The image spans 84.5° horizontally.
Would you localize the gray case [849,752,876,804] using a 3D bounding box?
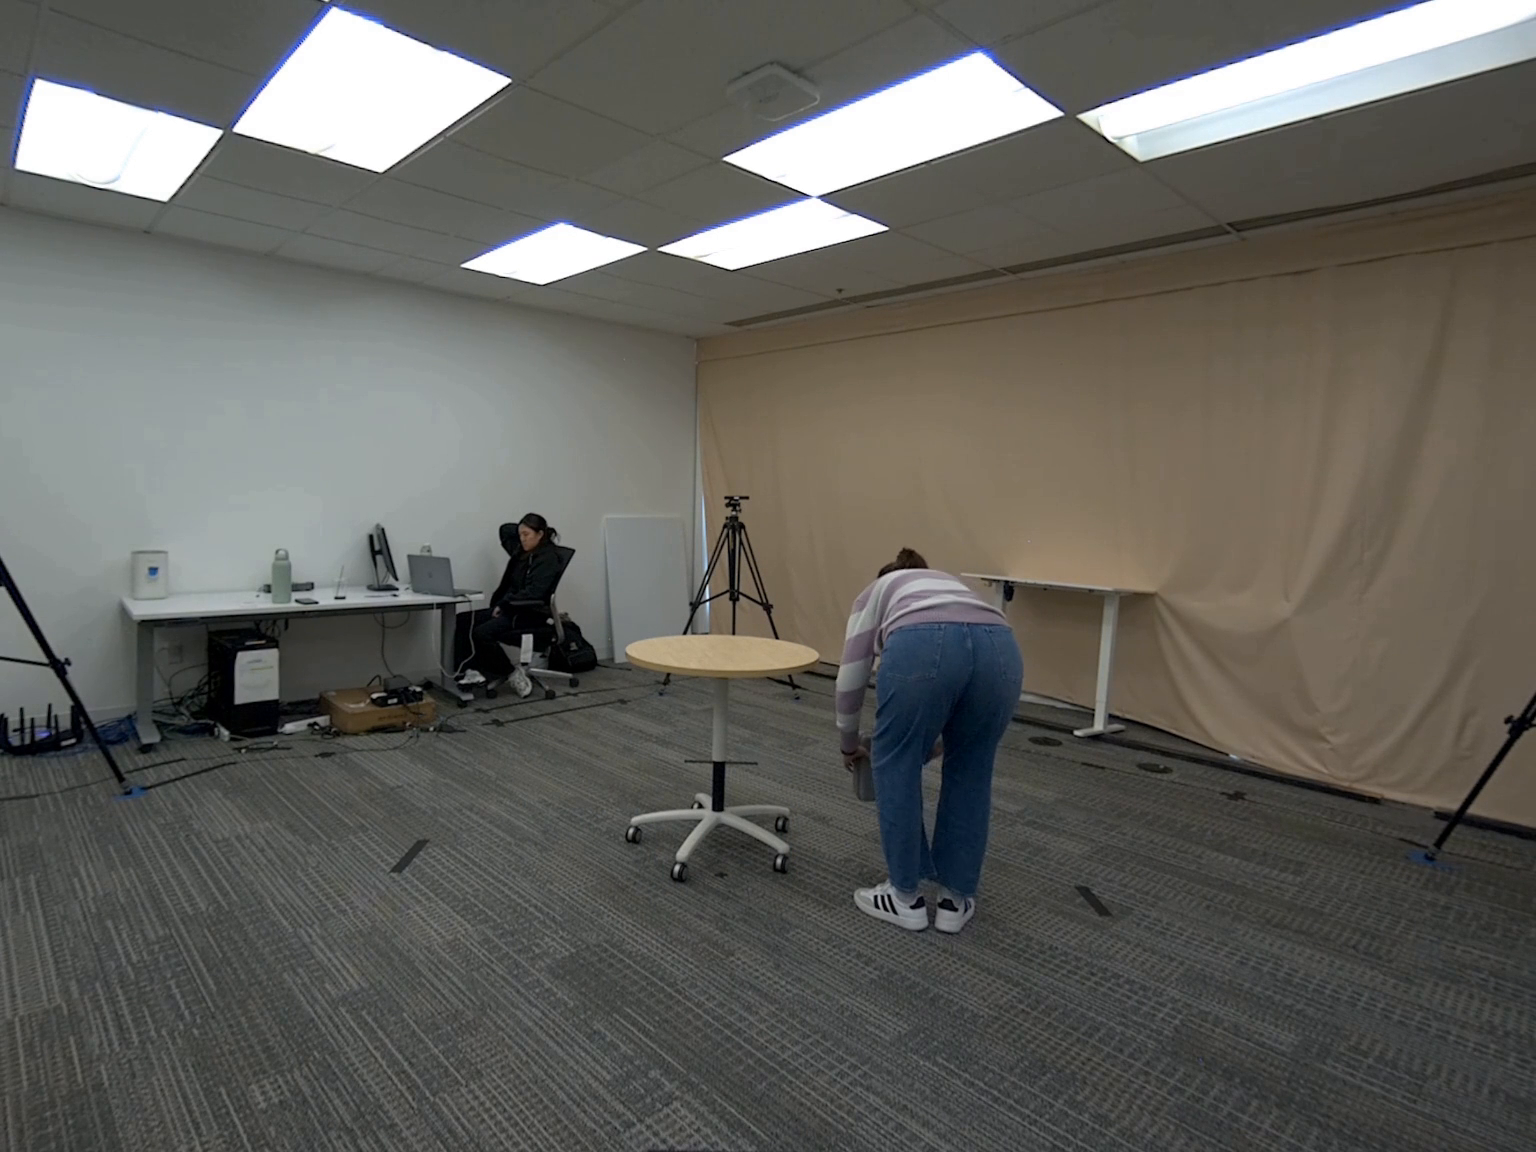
[{"bbox_3d":[0.450,0.710,3.166,0.254,0.261,0.105,2,-3,-13],"label":"gray case"}]
